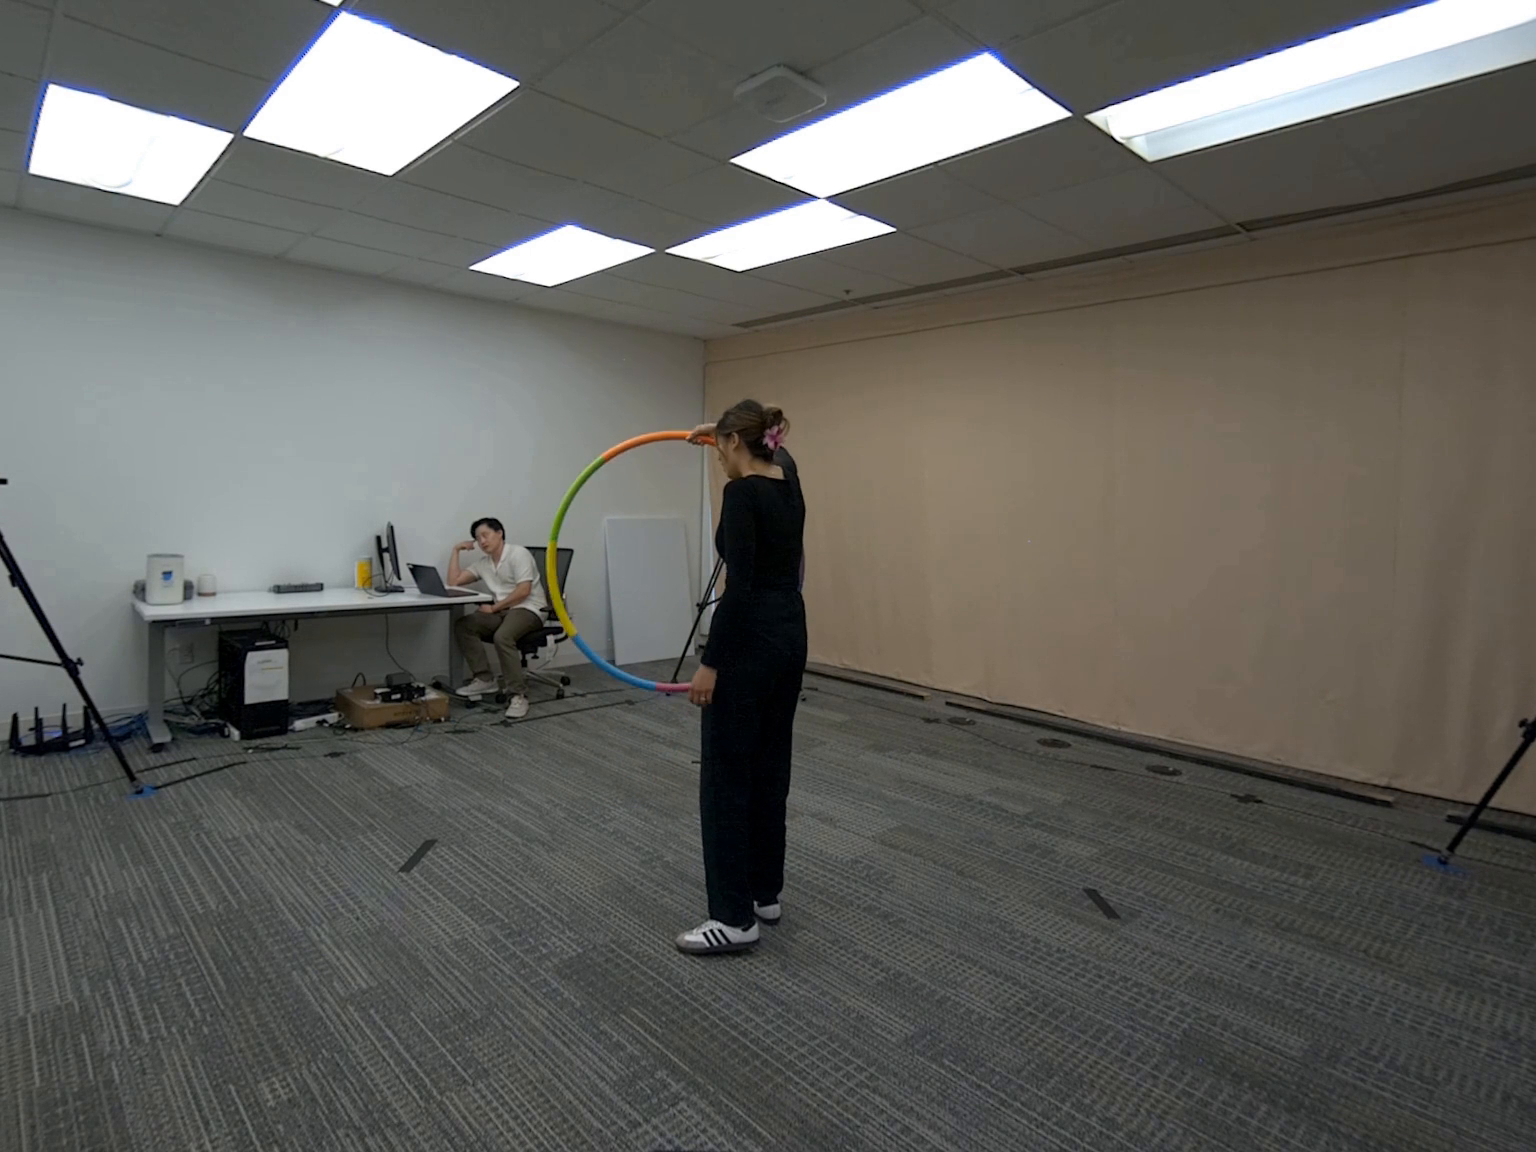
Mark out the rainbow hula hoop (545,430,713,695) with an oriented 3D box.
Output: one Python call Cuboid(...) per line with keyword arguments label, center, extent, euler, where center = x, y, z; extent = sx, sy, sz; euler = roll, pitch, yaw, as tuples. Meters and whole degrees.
Cuboid(label="rainbow hula hoop", center=(-0.355, -0.047, 3.194), extent=(0.984, 0.985, 0.052), euler=(1, -1, -2))
